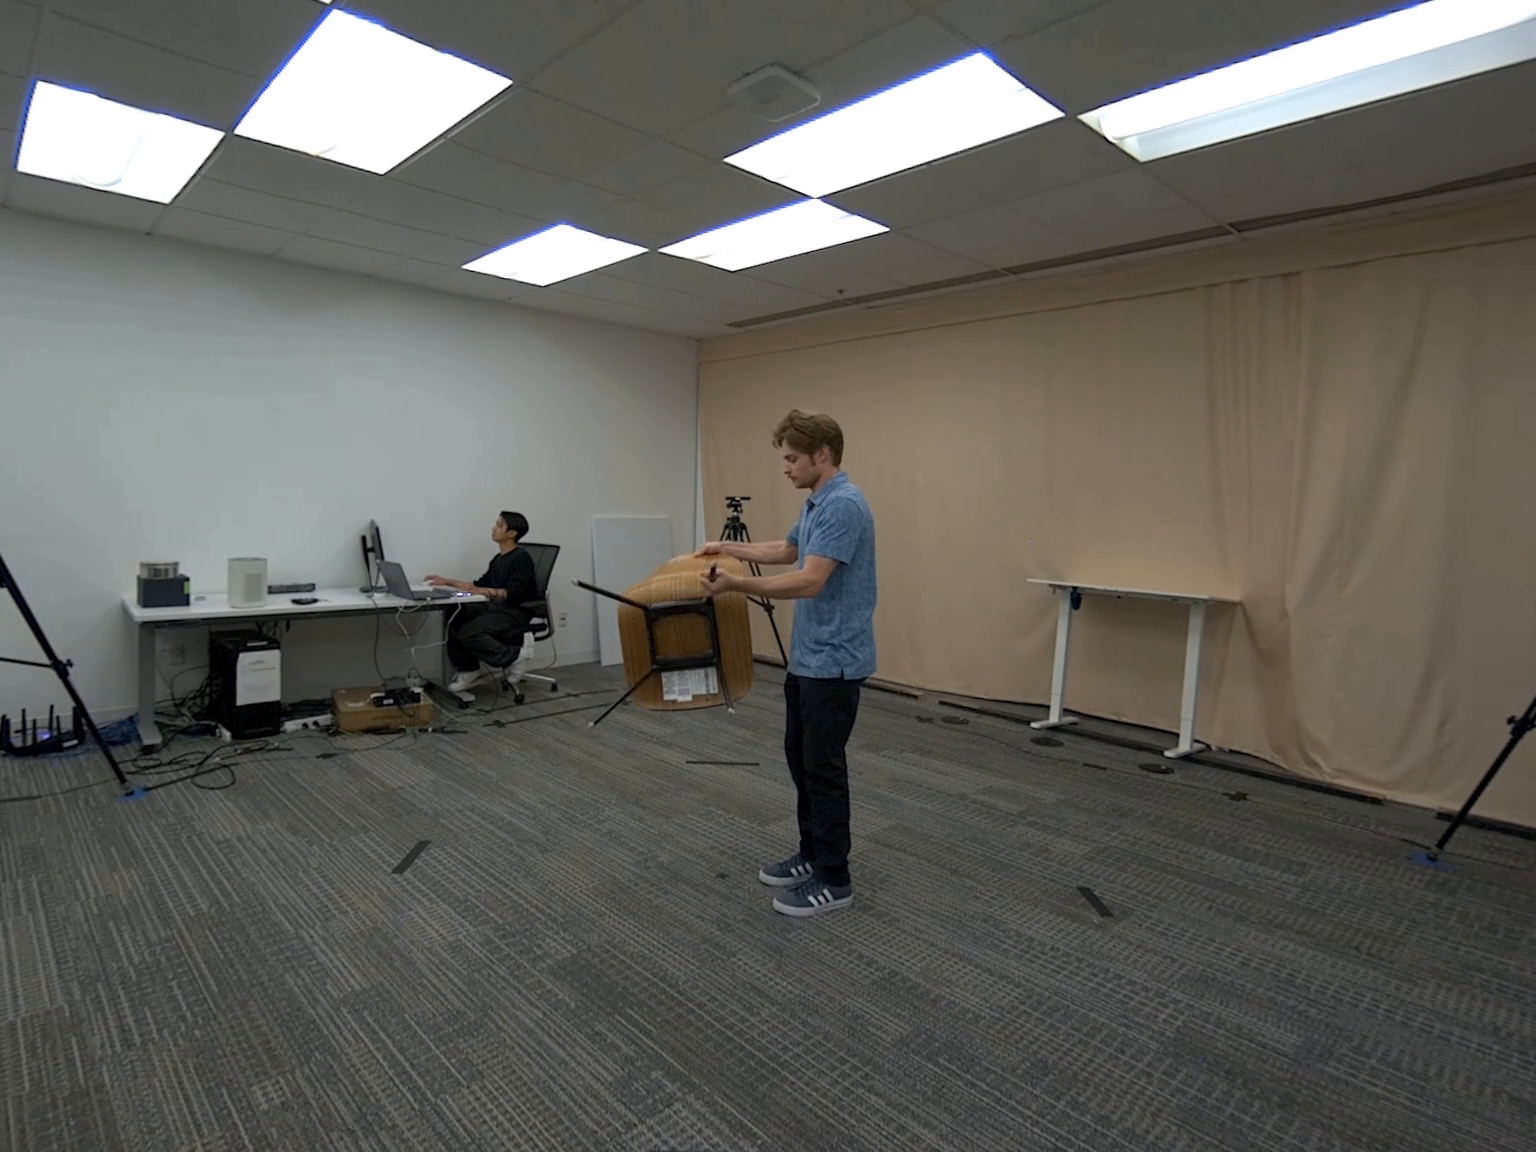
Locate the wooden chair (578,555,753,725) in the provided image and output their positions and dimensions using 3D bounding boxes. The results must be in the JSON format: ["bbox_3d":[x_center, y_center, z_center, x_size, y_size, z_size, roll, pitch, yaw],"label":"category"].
[{"bbox_3d":[-0.300,0.216,2.938,0.481,0.522,0.873,-7,3,8],"label":"wooden chair"}]
